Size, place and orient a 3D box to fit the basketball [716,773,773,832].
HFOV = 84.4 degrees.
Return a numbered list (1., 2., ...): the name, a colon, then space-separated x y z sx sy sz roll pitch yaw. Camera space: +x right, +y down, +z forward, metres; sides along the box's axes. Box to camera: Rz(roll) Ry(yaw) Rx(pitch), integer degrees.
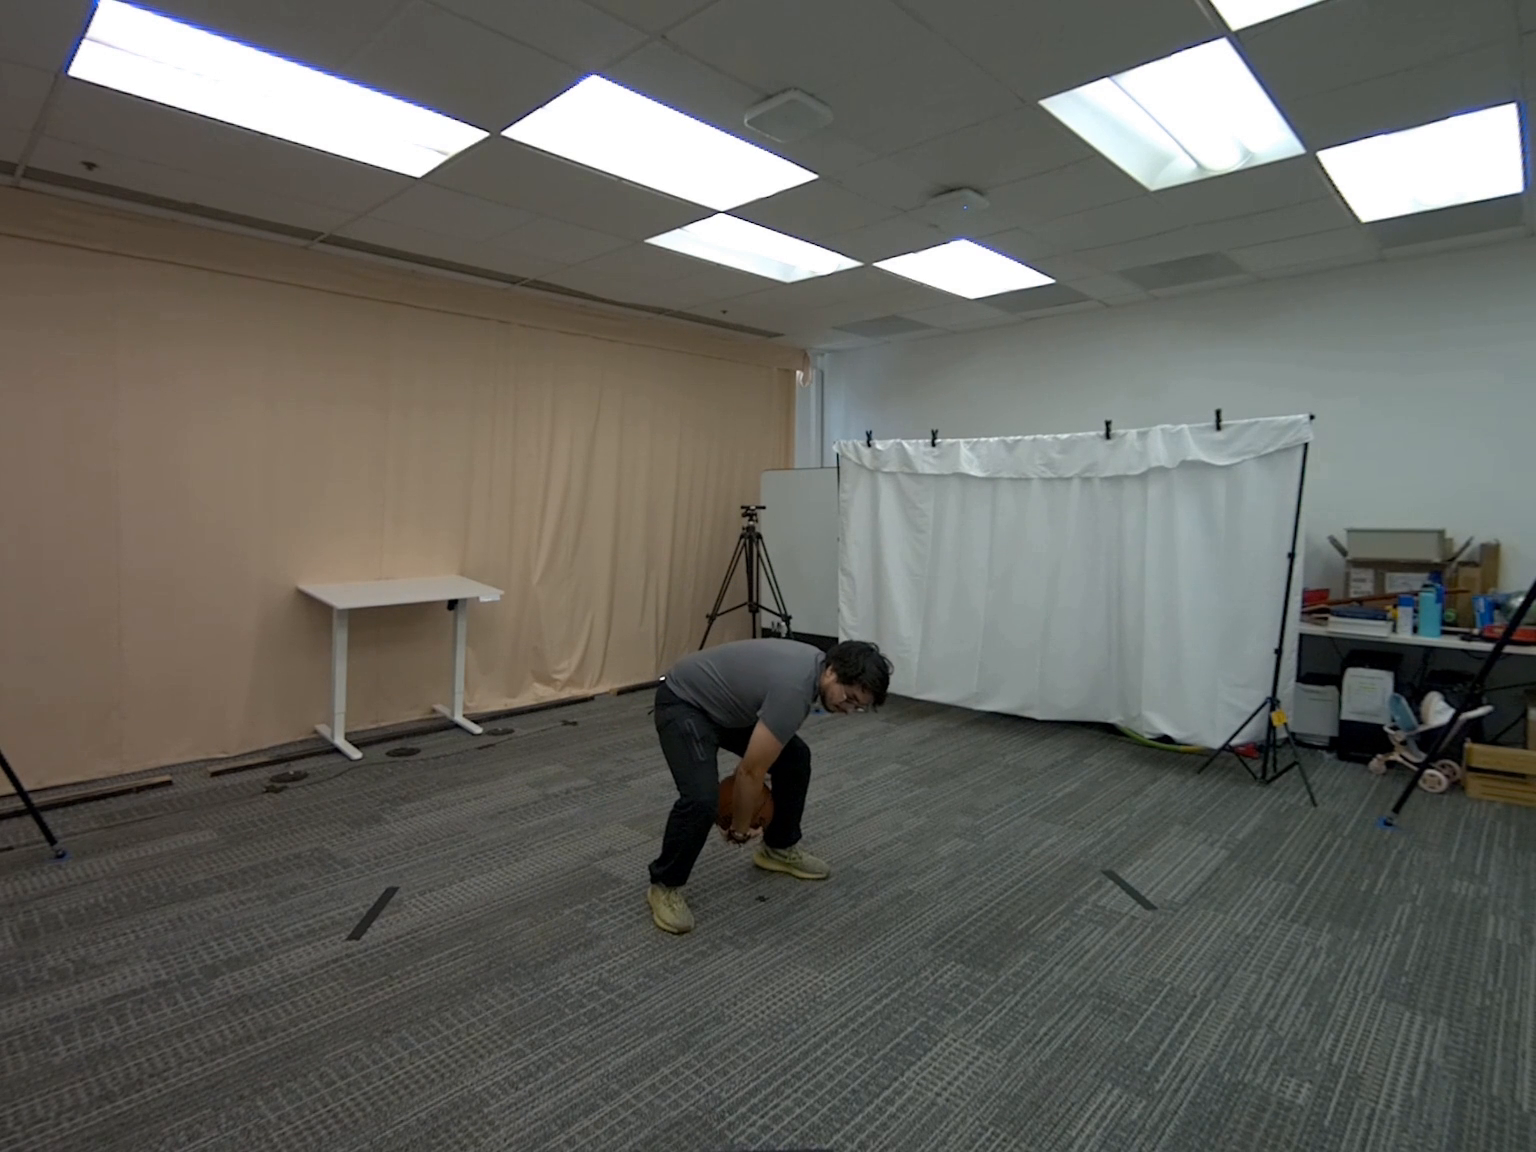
1. basketball: -0.093 0.847 3.115 0.236 0.235 0.237 0 4 -2
